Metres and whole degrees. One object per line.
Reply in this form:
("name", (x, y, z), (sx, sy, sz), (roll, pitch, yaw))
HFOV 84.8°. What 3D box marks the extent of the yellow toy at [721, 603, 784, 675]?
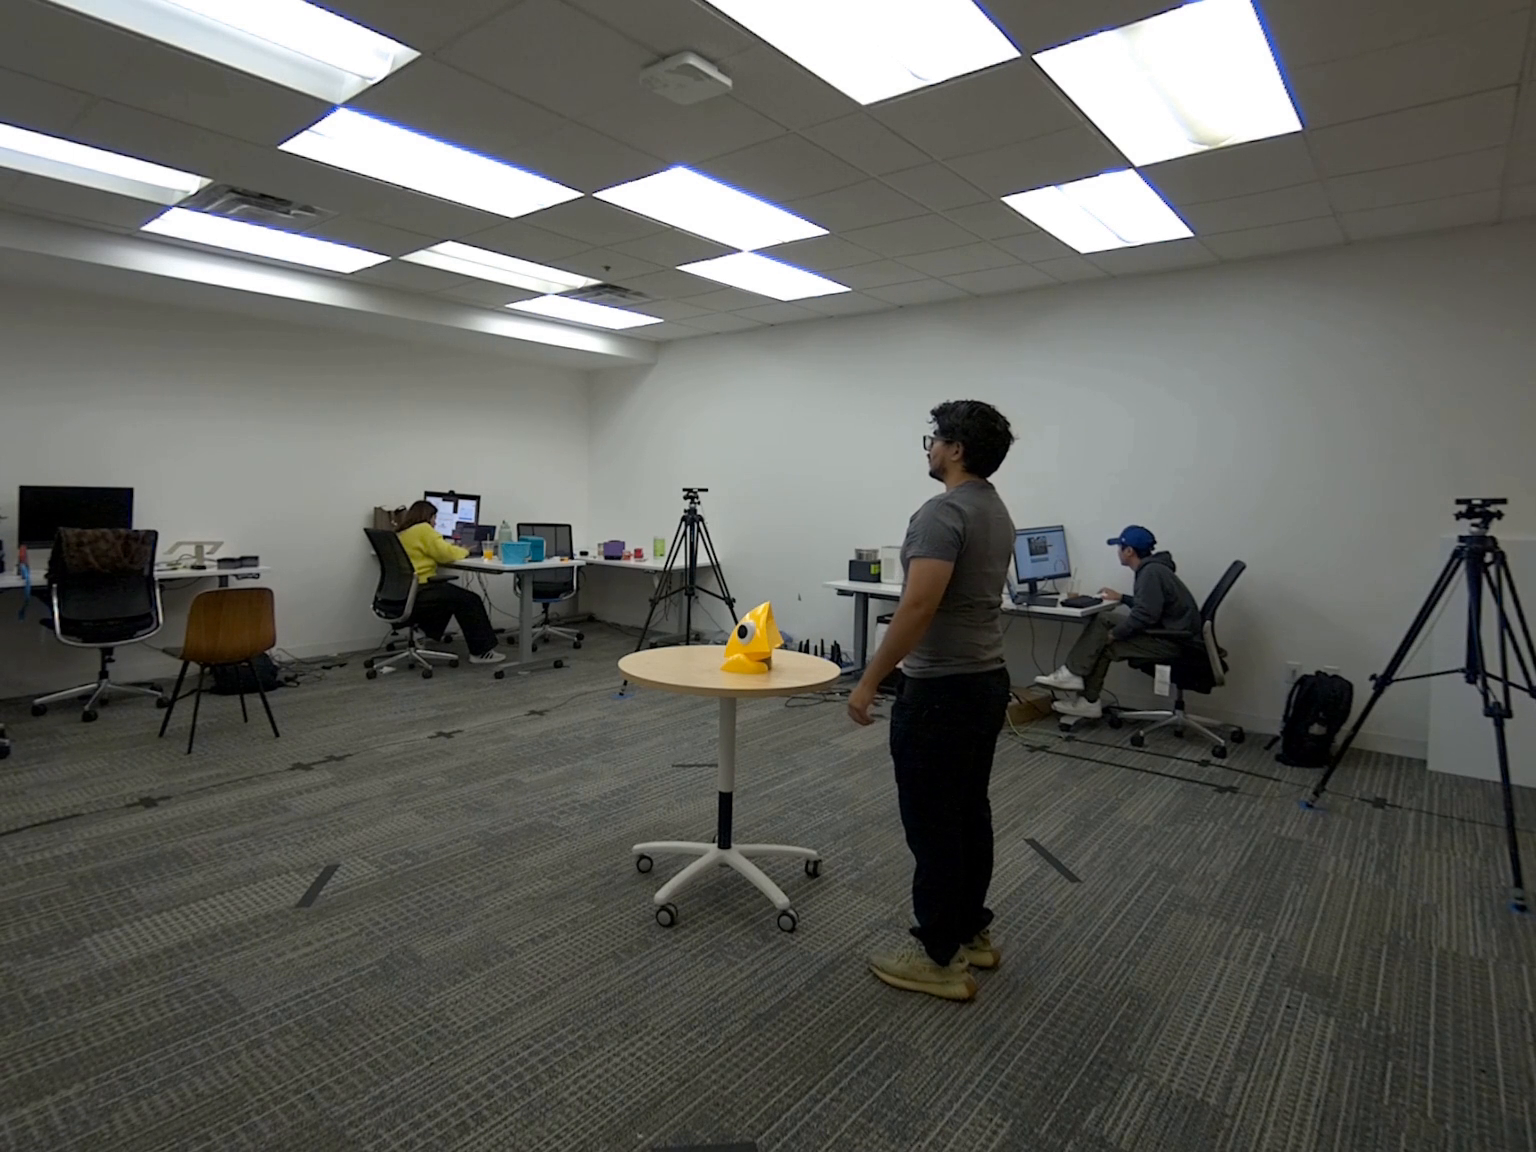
("yellow toy", (-0.067, 0.195, 2.902), (0.196, 0.230, 0.202), (3, 3, 16))
